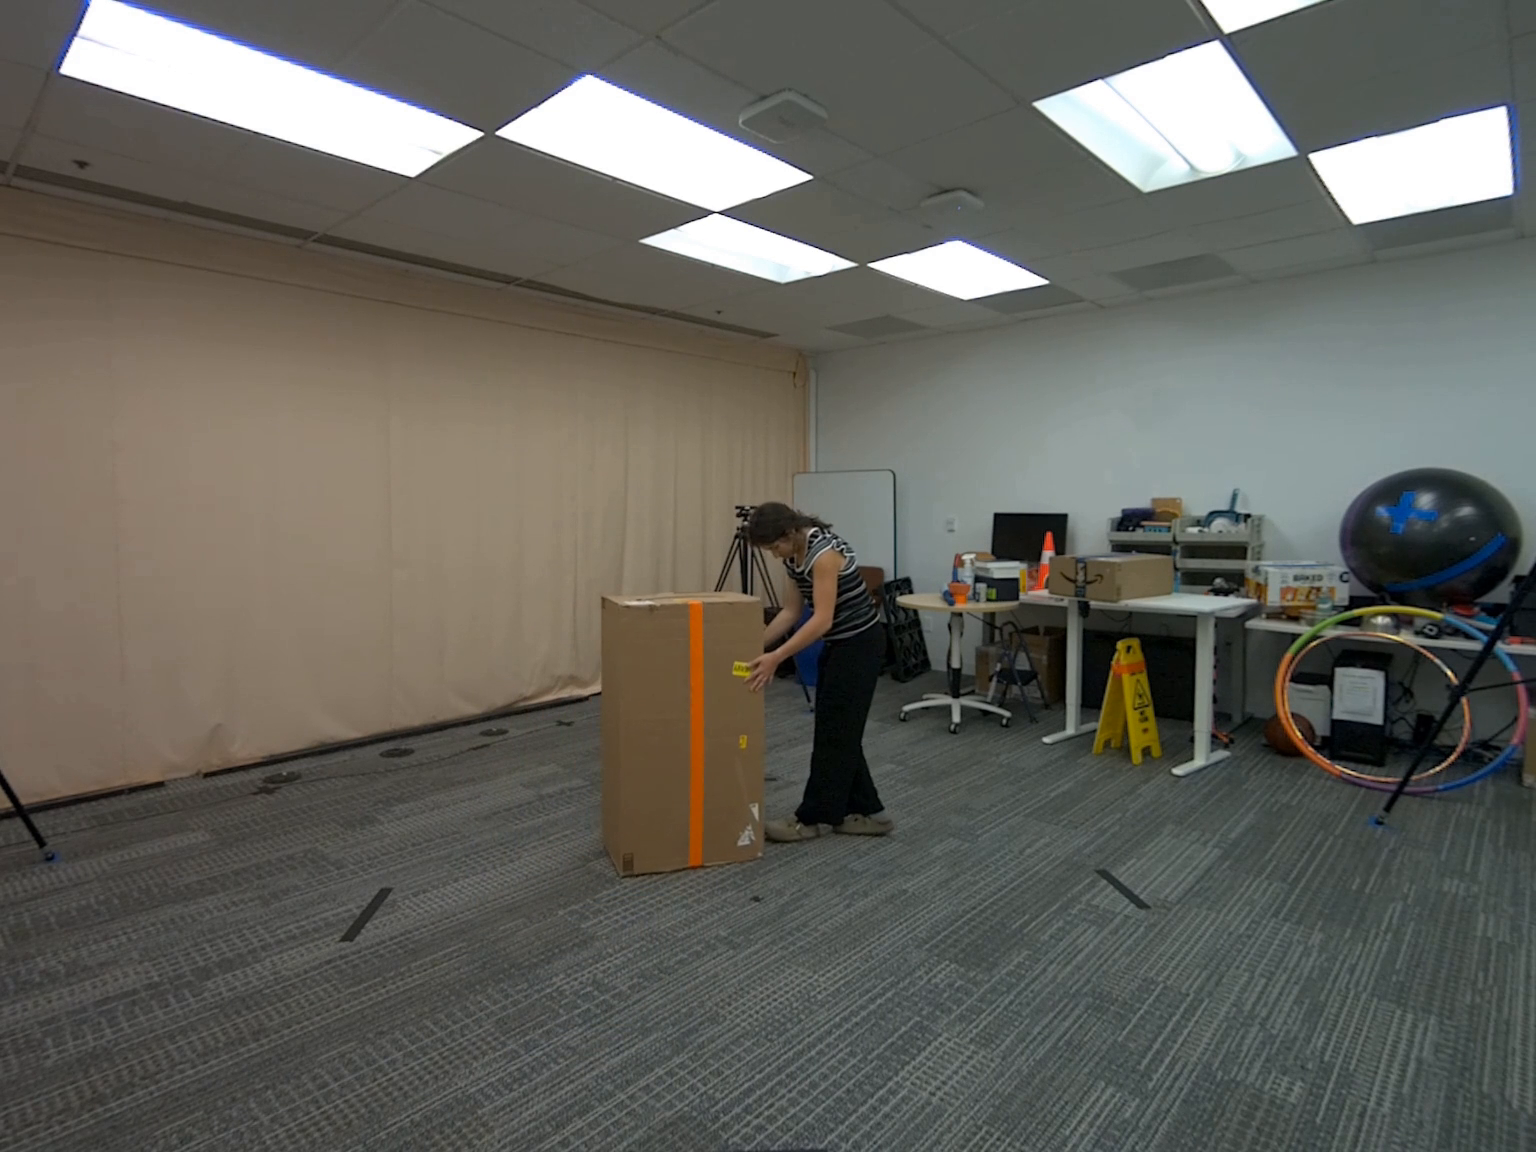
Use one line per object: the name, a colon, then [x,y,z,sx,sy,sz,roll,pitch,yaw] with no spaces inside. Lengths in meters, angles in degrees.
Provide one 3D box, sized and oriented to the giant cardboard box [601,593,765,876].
giant cardboard box: [-0.359,0.599,3.414,0.566,1.024,0.435,-1,2,-20]
